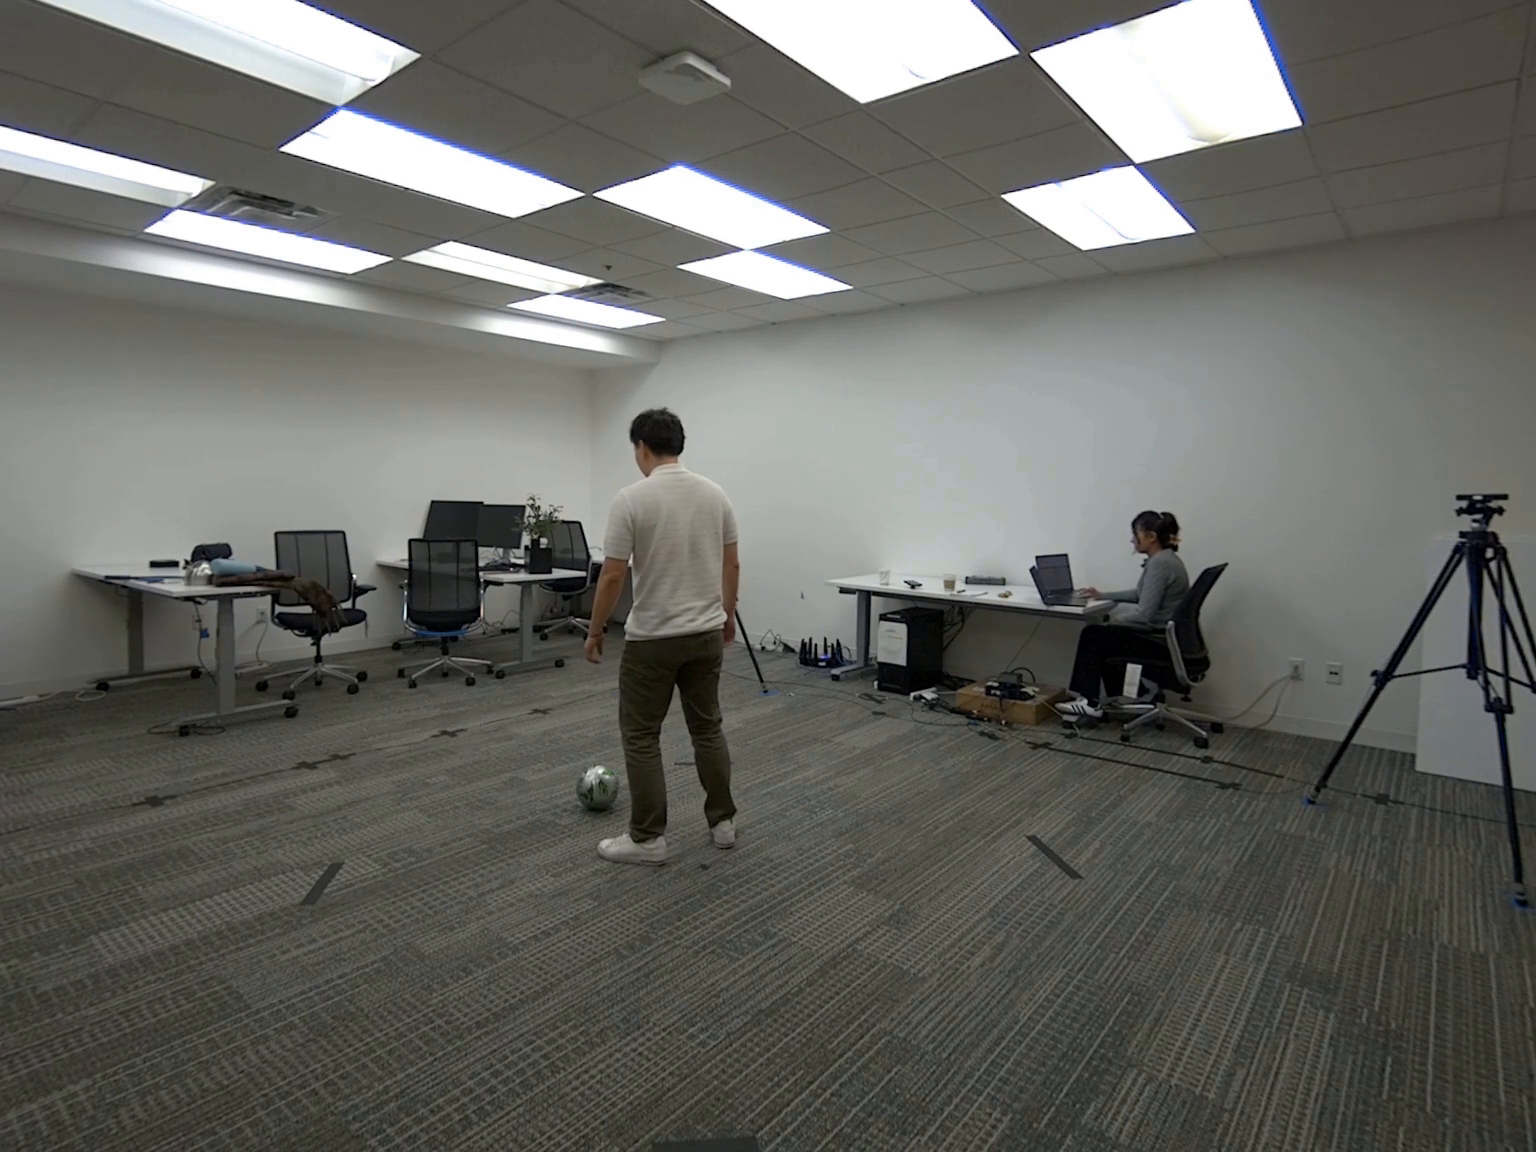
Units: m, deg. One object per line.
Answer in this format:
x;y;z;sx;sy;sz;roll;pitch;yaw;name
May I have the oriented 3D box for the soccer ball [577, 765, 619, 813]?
-0.748;0.915;3.678;0.187;0.187;0.188;0;4;-2;soccer ball
